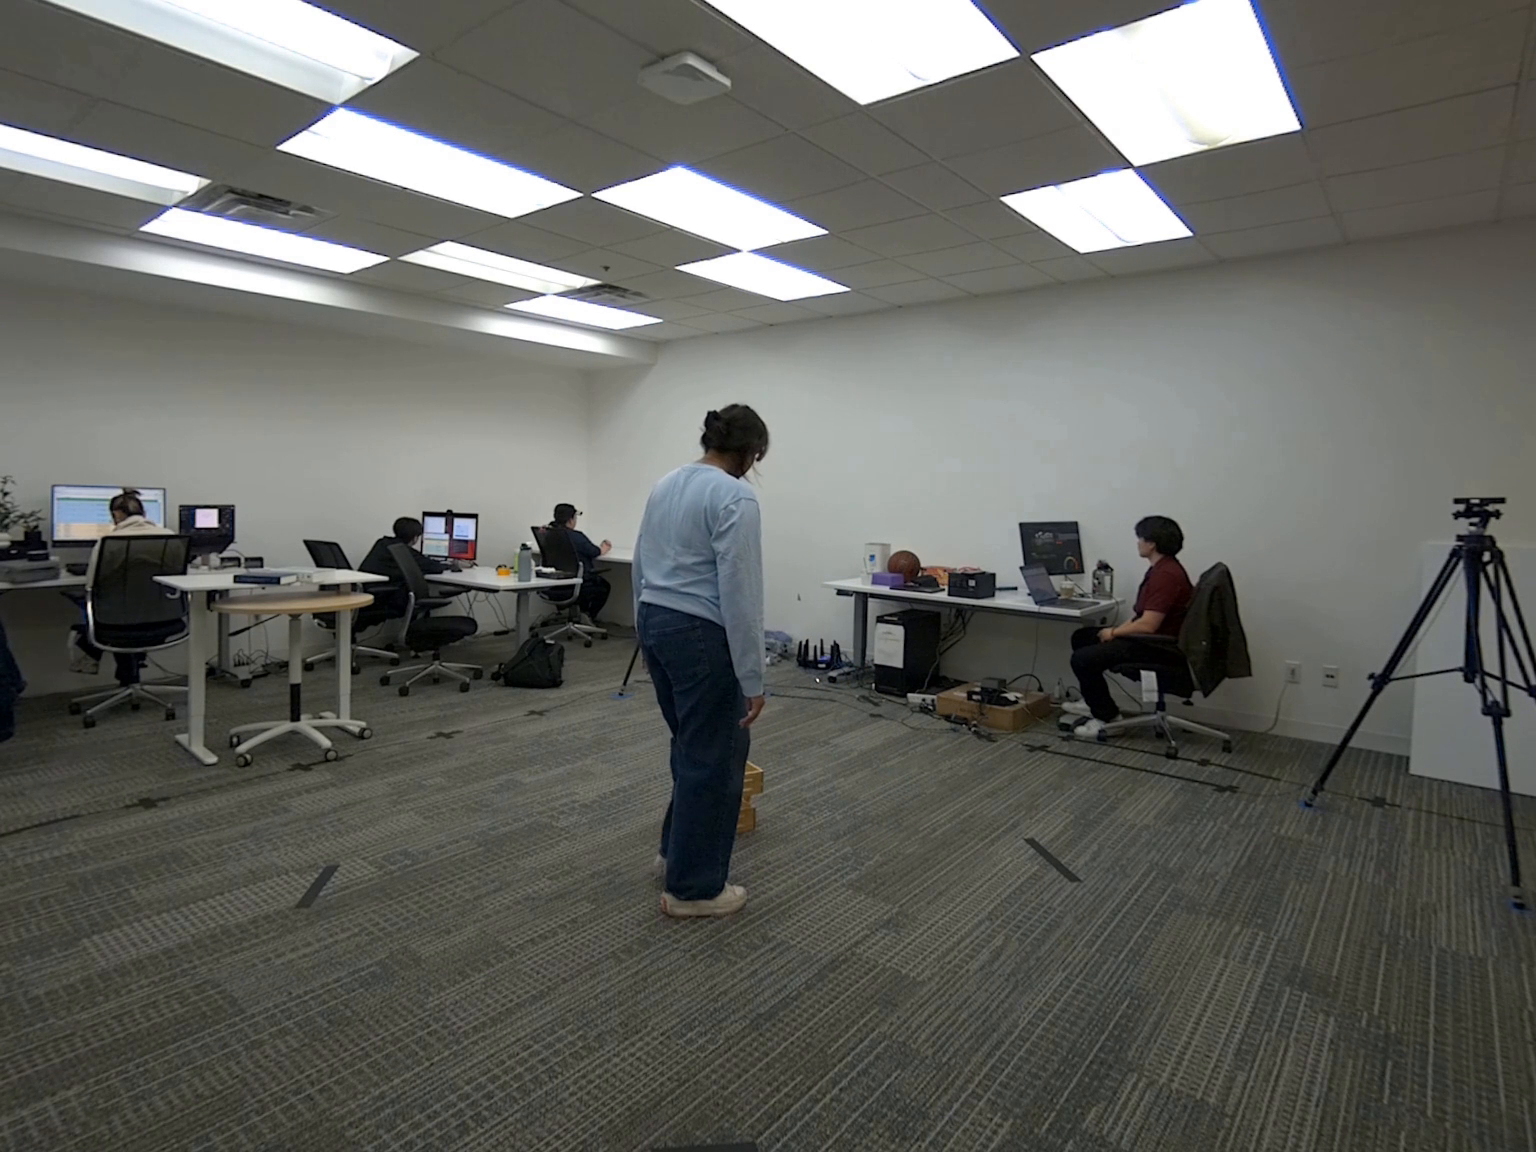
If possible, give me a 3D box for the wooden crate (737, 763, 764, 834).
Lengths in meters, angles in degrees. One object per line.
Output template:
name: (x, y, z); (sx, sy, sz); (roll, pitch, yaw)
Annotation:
wooden crate: (-0.238, 0.891, 3.492); (0.316, 0.272, 0.312); (-2, 6, -32)
